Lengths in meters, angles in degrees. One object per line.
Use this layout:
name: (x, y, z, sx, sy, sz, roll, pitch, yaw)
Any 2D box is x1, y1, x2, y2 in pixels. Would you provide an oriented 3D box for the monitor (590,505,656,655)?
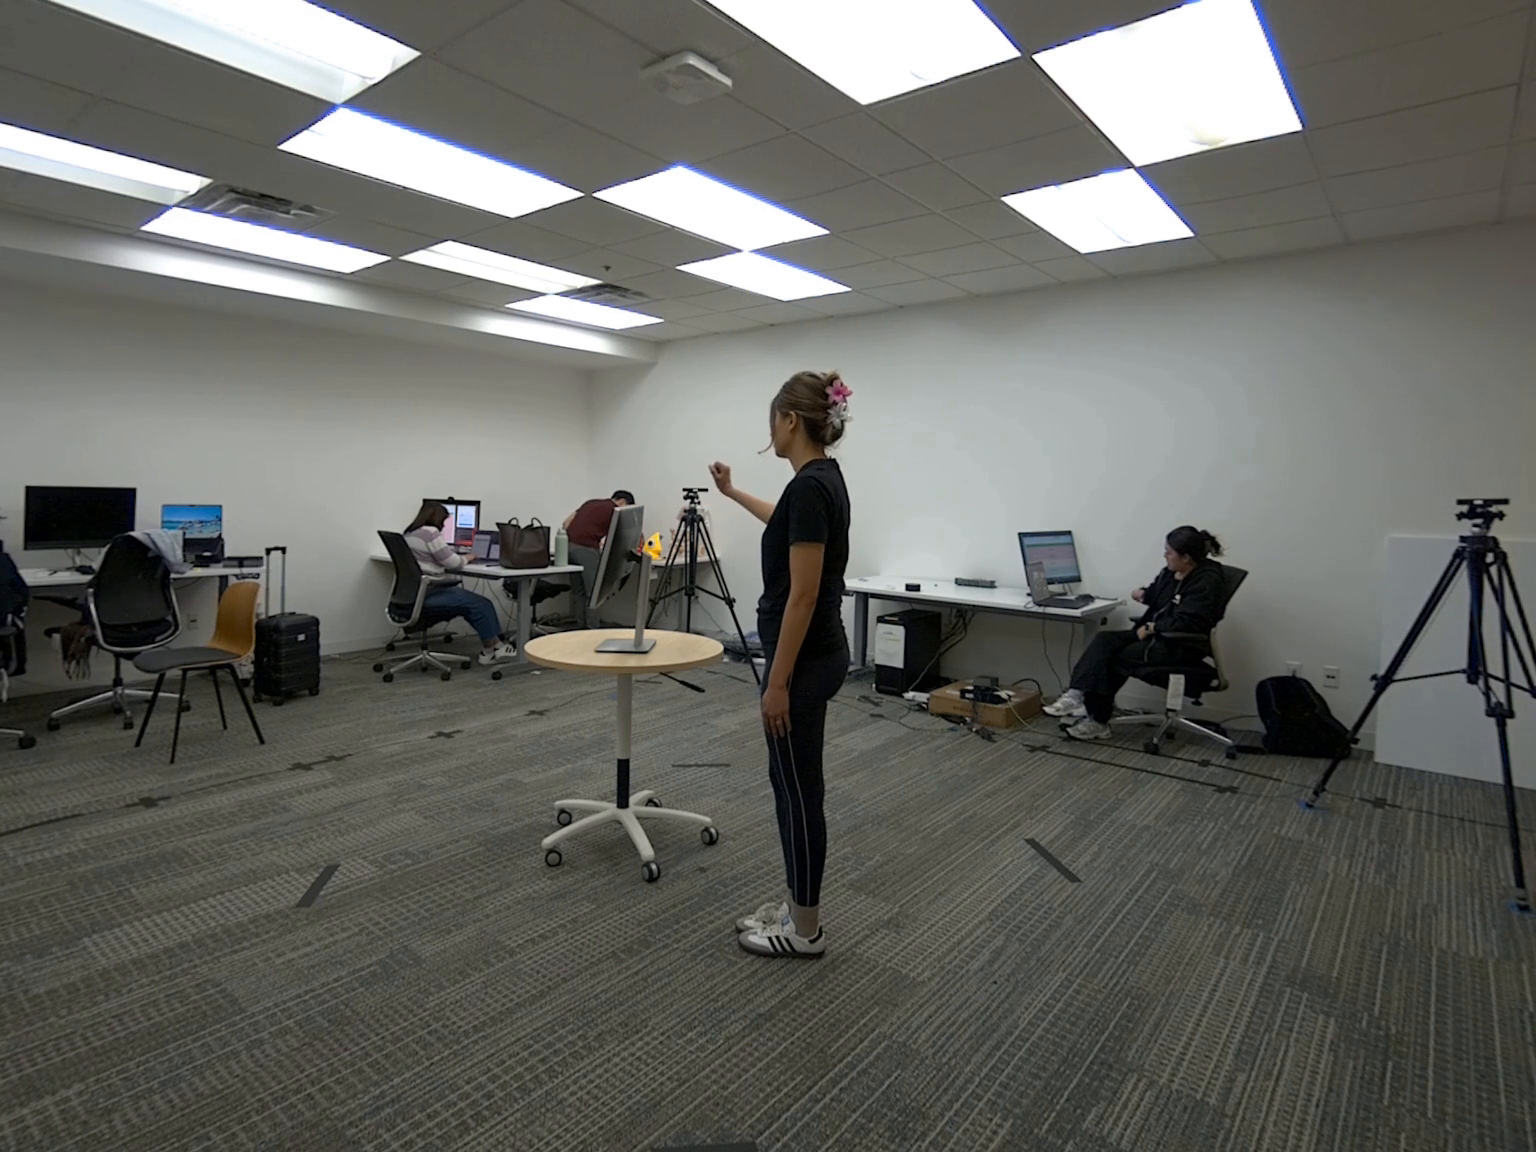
monitor: (-0.547, 0.009, 3.246, 0.187, 0.520, 0.541, 1, 5, -1)
